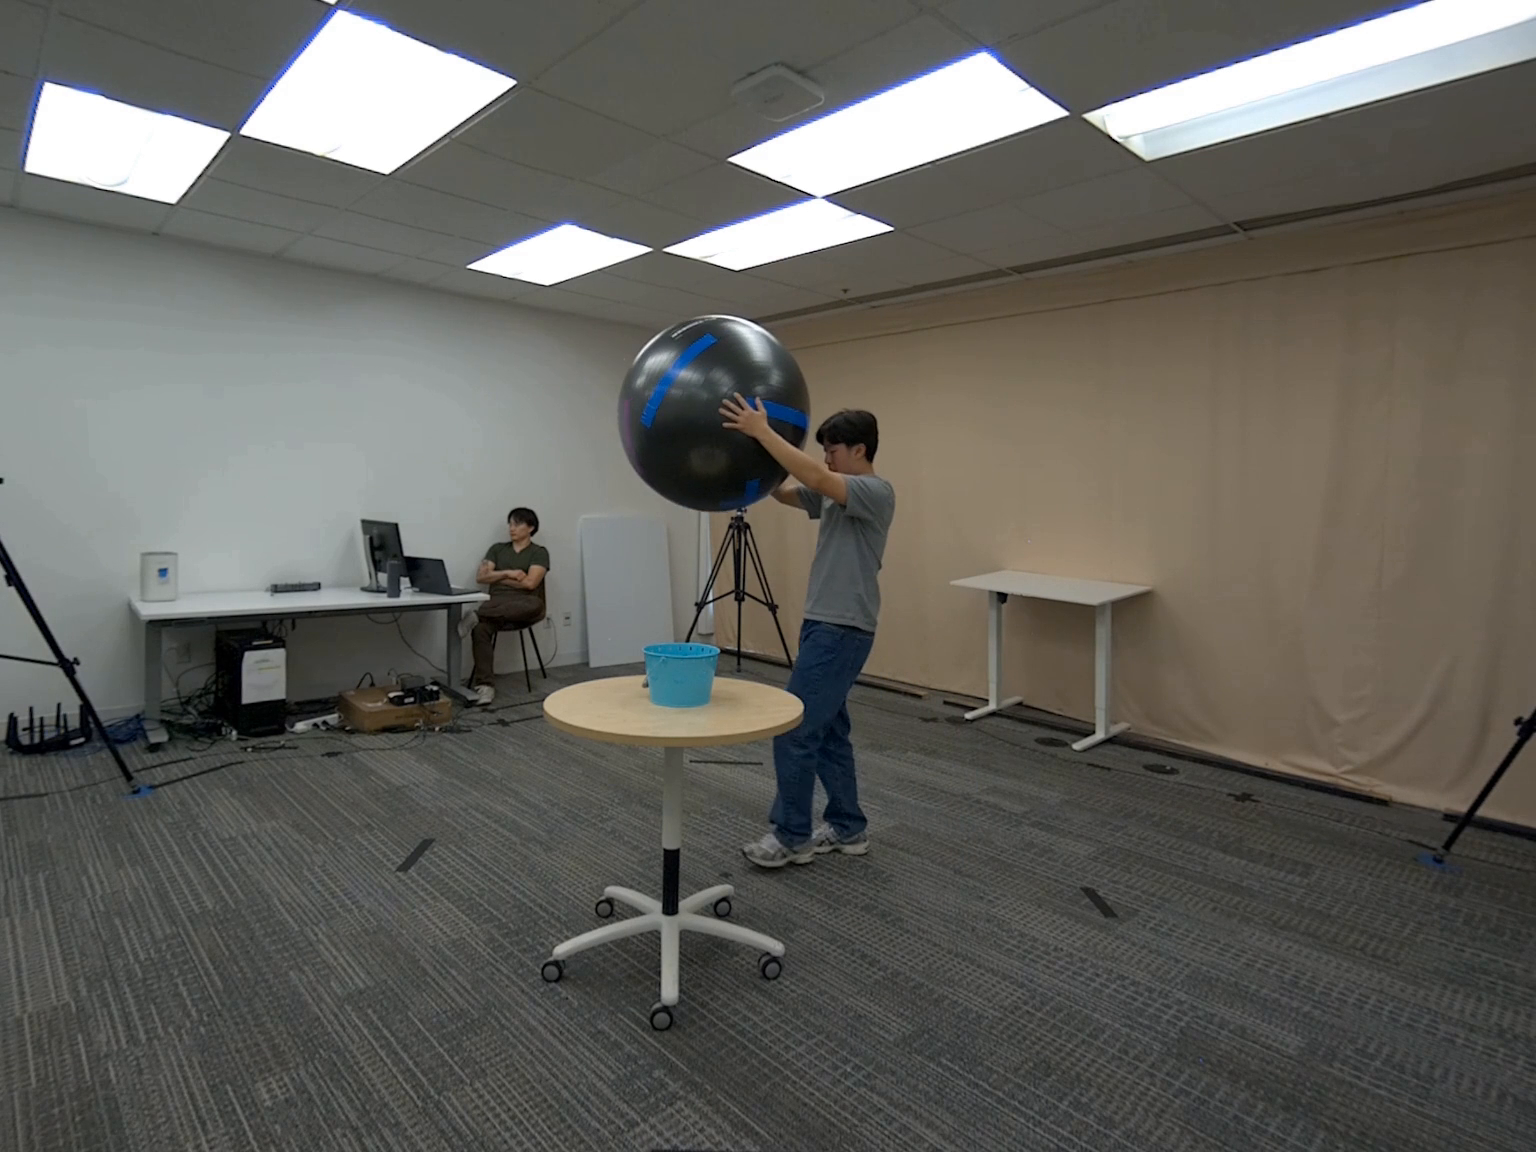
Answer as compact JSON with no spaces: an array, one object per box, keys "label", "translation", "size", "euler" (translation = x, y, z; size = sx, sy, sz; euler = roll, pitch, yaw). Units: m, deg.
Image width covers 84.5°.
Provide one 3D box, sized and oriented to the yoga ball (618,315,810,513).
[{"label":"yoga ball","translation":[-0.217,-0.629,3.315],"size":[0.757,0.756,0.761],"euler":[1,4,-1]}]
